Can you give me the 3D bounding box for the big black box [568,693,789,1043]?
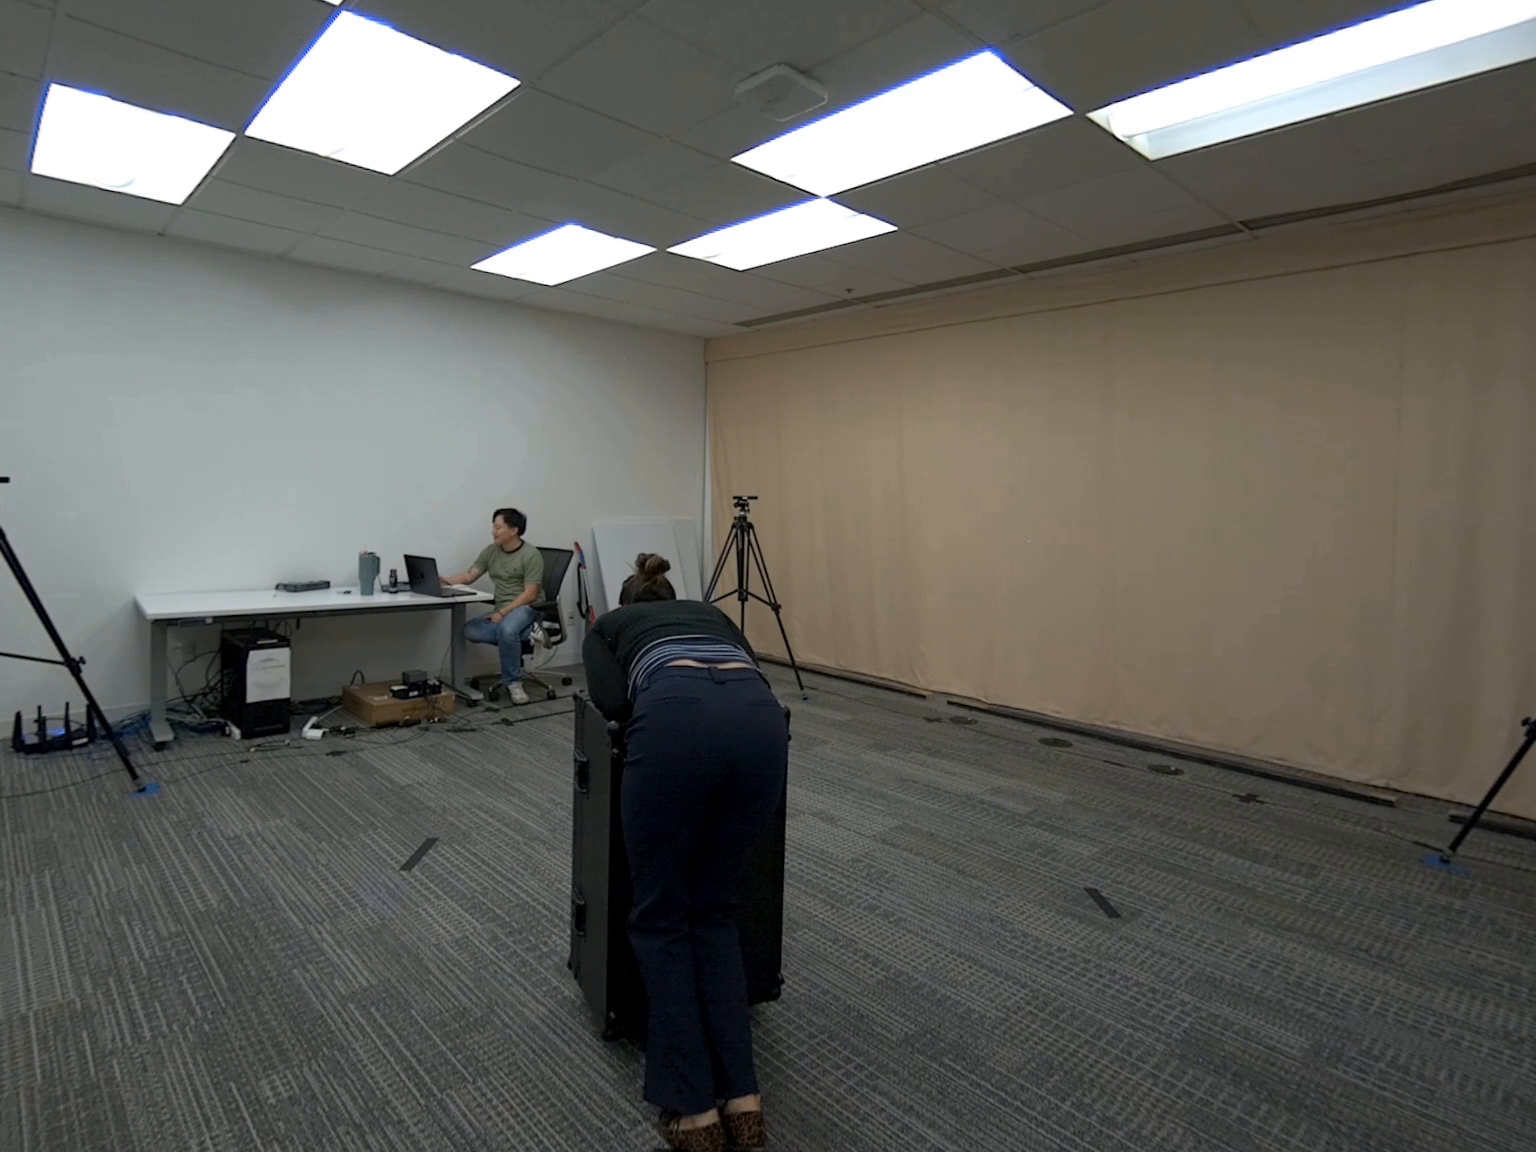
[{"bbox_3d":[-0.244,0.756,2.258,0.512,0.859,0.405,0,5,-26],"label":"big black box"}]
